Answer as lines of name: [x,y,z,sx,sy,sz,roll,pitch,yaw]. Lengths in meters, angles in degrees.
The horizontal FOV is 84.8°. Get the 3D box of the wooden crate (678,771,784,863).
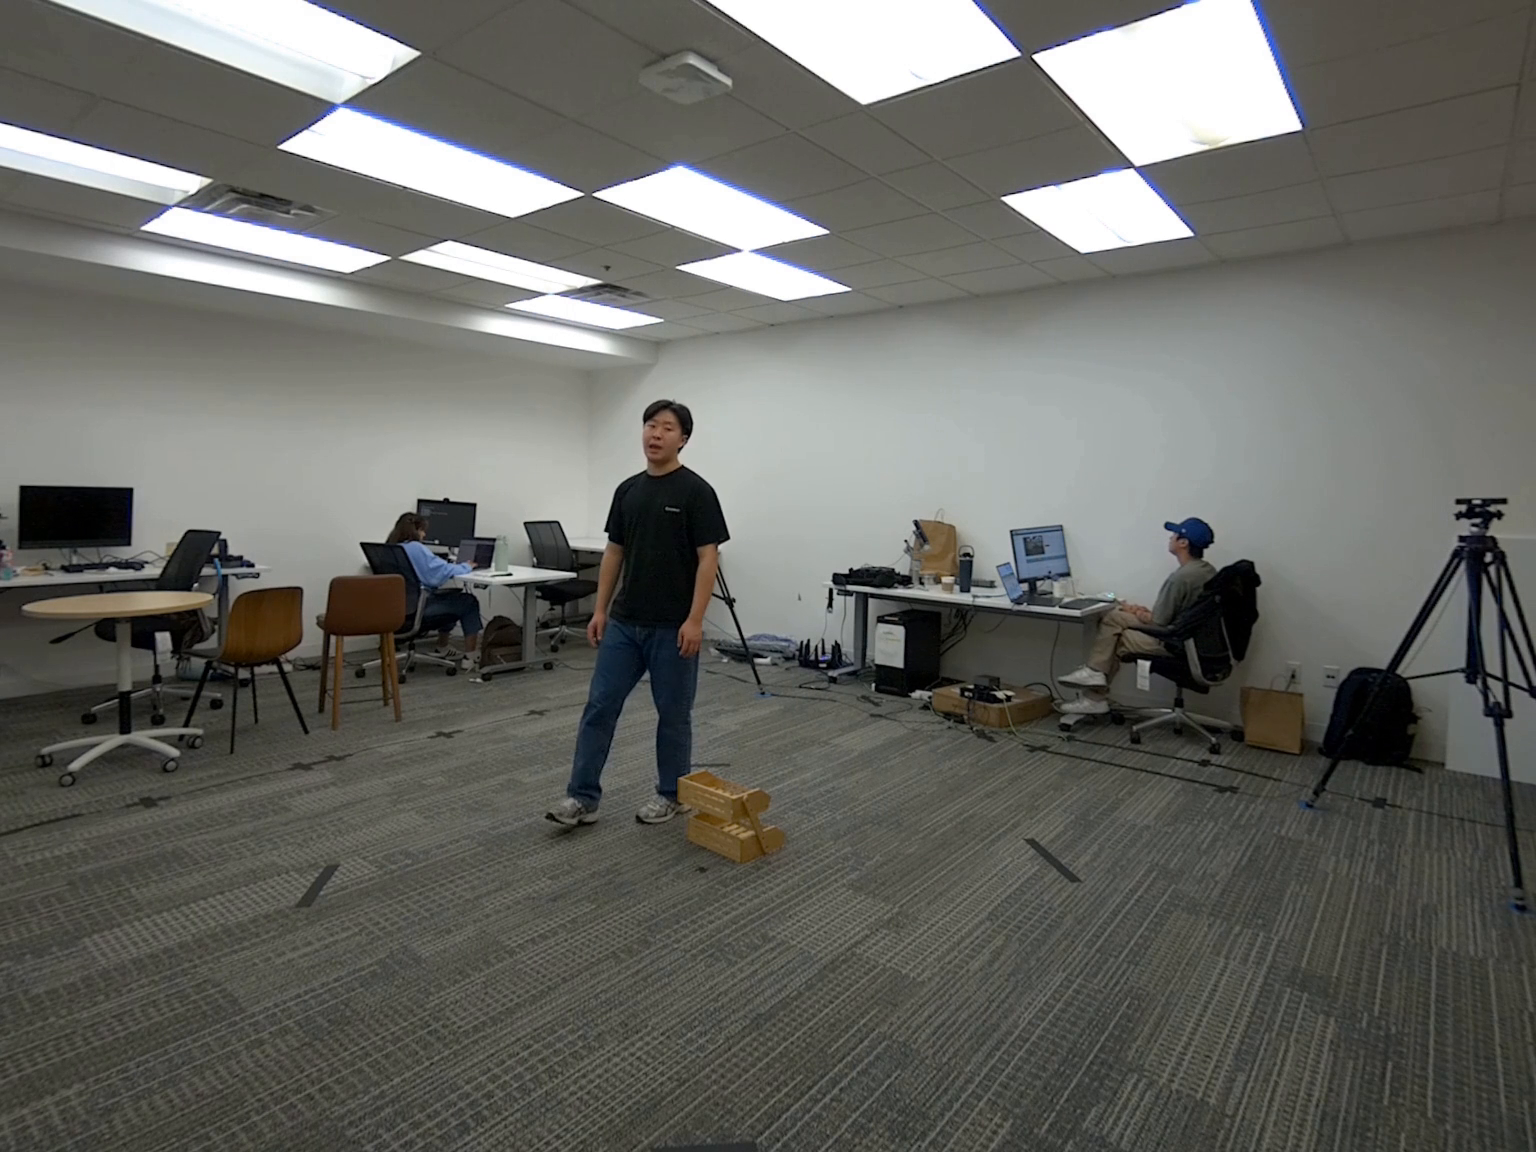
wooden crate: [-0.151,0.916,3.332,0.335,0.272,0.293,5,6,42]
